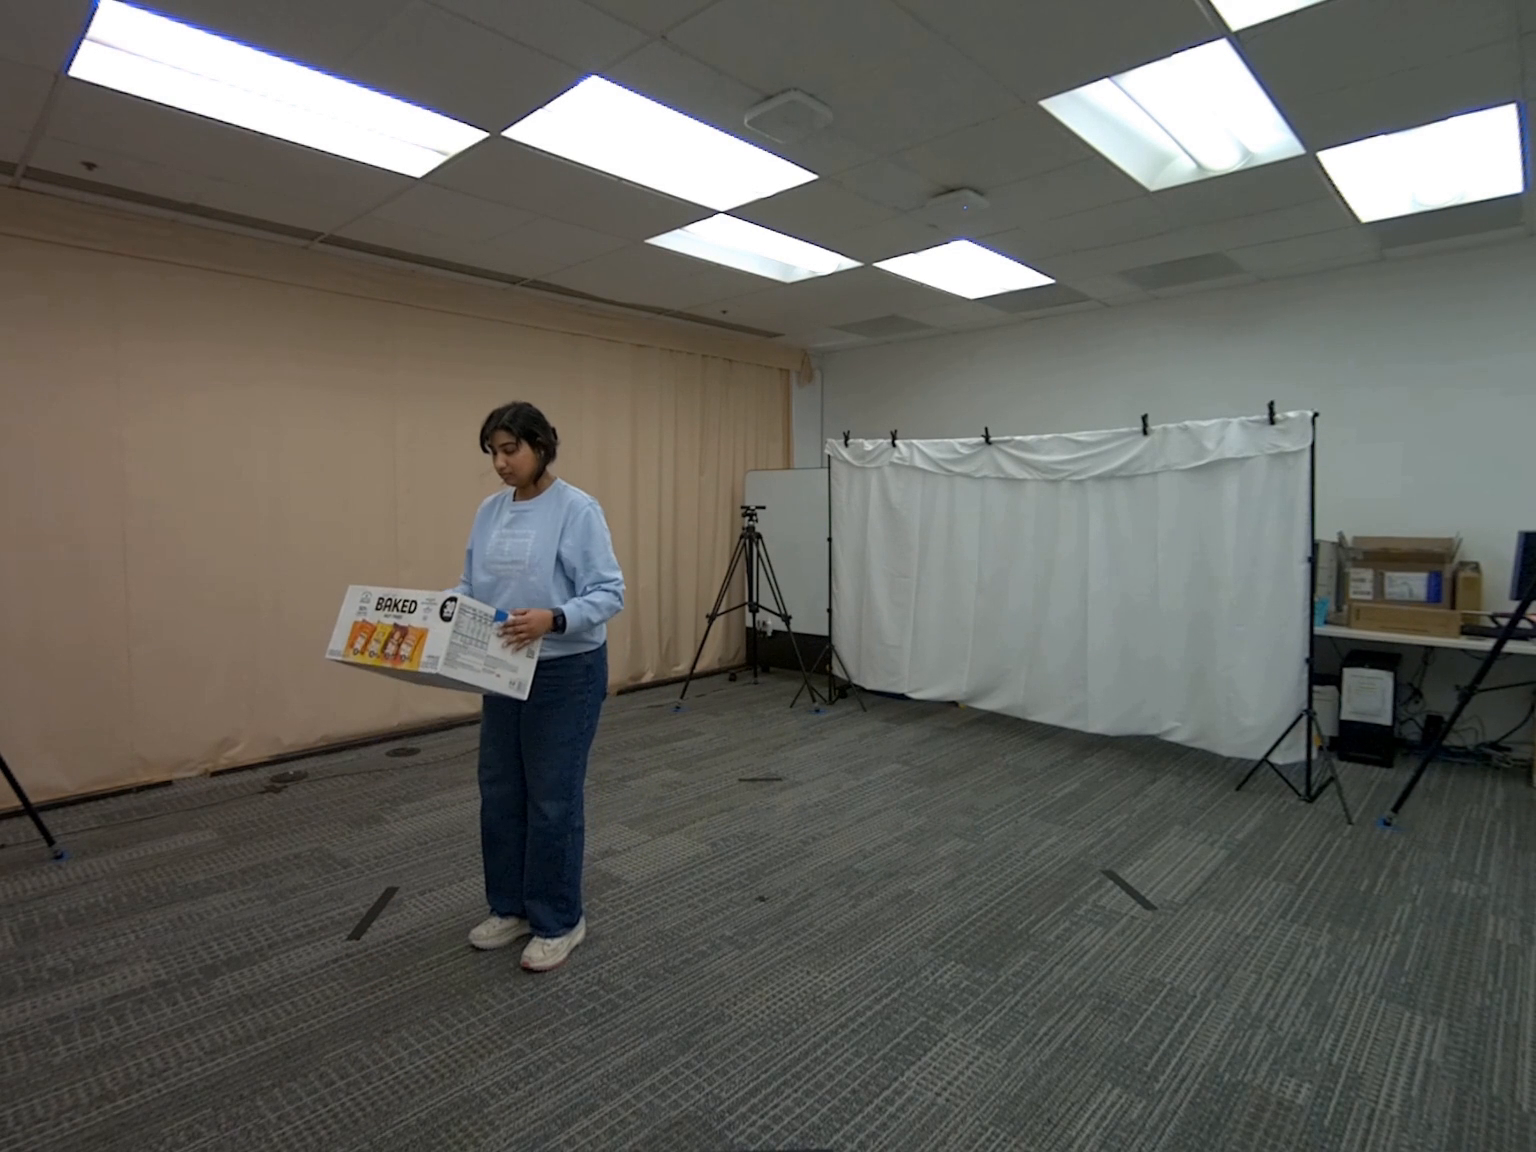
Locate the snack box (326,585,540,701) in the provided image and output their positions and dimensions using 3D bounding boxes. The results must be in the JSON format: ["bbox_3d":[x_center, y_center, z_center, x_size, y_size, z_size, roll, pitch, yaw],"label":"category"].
[{"bbox_3d":[-0.879,0.185,2.256,0.416,0.207,0.329,3,-17,27],"label":"snack box"}]
